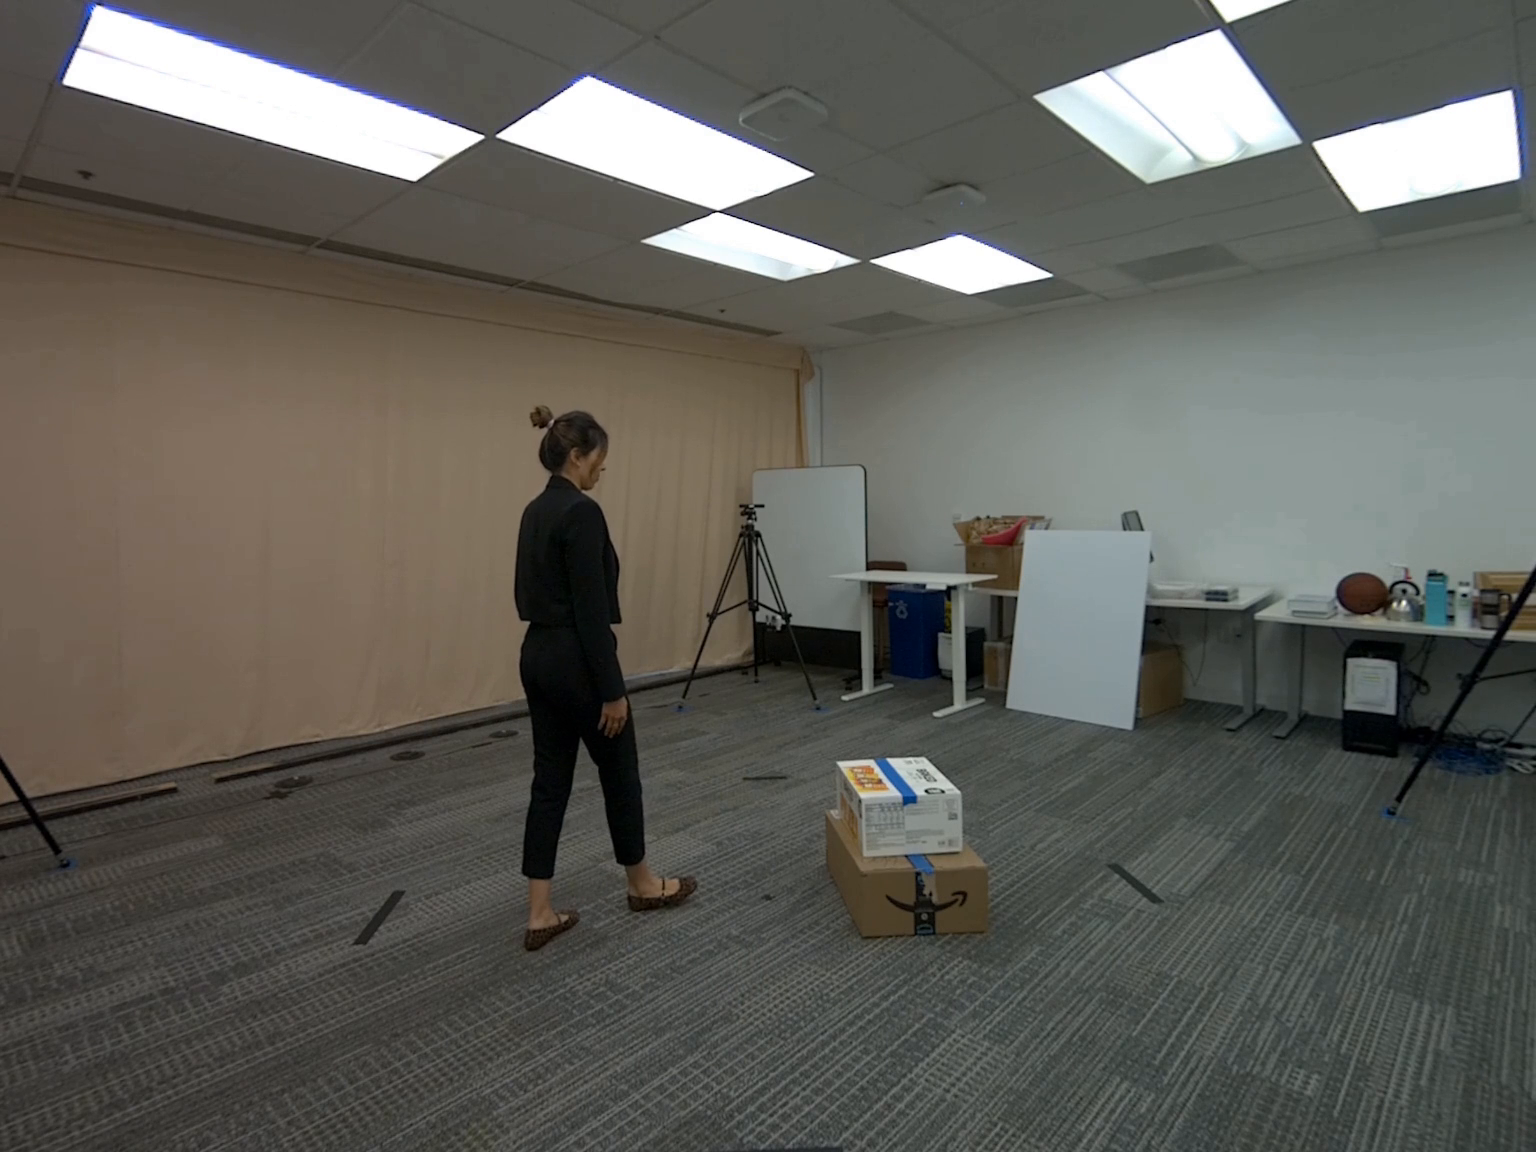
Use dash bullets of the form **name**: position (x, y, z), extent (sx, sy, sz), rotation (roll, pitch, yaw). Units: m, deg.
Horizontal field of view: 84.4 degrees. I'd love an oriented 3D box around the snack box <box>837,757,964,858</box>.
- **snack box**: position (0.460, 0.813, 2.995), extent (0.338, 0.205, 0.409), rotation (-3, 5, -6)
